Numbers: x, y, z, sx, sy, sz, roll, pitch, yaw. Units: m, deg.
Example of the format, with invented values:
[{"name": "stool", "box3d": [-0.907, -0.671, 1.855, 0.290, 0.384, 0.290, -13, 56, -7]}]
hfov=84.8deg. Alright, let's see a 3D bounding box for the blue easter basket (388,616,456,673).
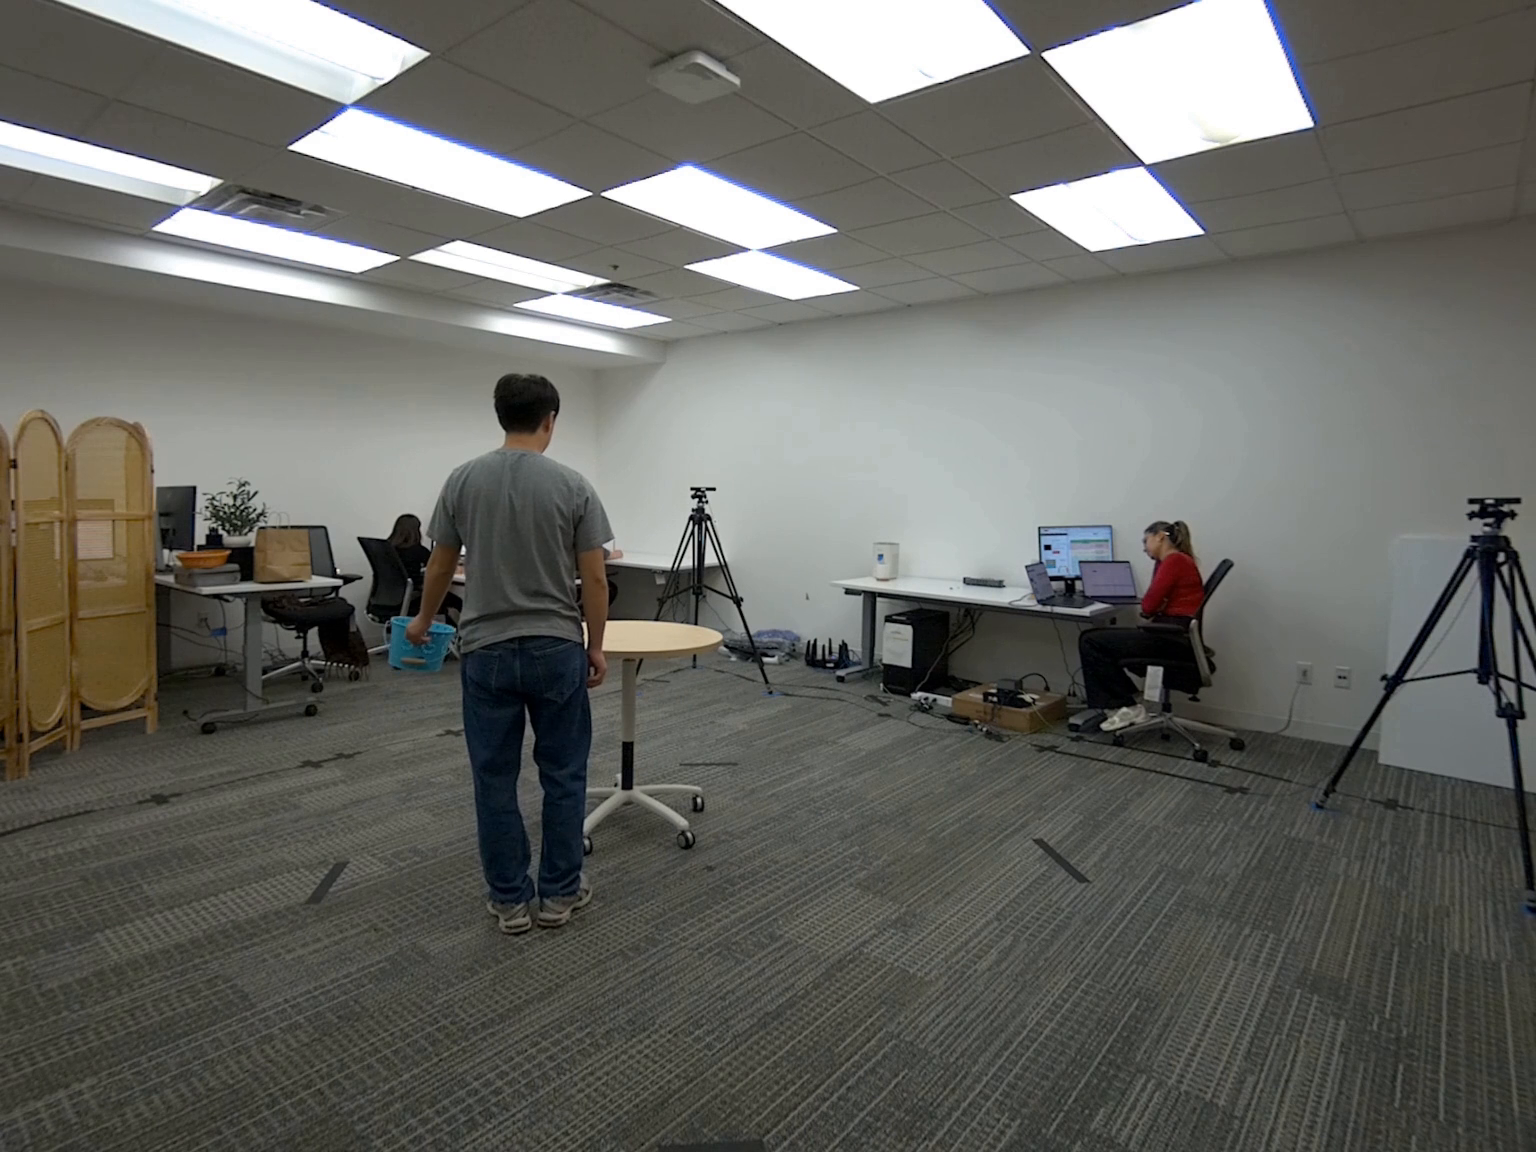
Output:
[{"name": "blue easter basket", "box3d": [-1.269, 0.242, 3.053, 0.243, 0.156, 0.244, 12, 0, -2]}]
